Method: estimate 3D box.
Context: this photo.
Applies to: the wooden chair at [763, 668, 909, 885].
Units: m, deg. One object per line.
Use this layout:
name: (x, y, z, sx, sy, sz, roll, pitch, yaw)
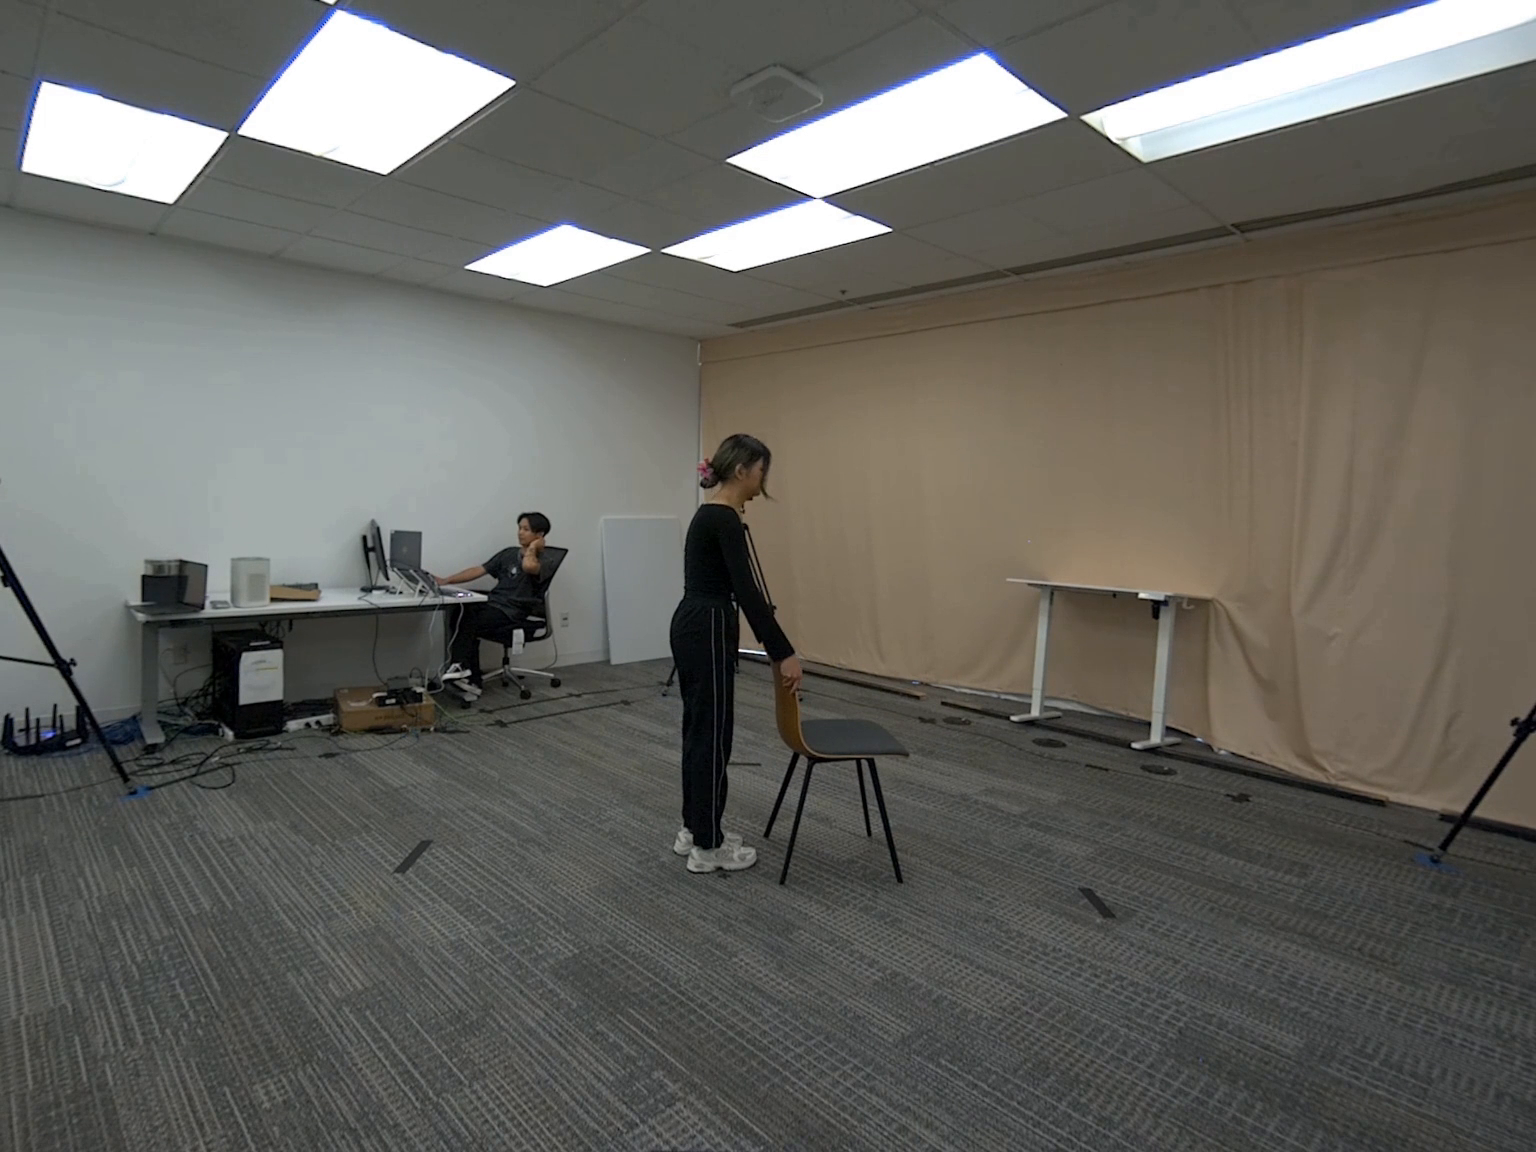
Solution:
wooden chair: (0.252, 0.675, 3.253, 0.521, 0.876, 0.481, -3, 3, -7)
